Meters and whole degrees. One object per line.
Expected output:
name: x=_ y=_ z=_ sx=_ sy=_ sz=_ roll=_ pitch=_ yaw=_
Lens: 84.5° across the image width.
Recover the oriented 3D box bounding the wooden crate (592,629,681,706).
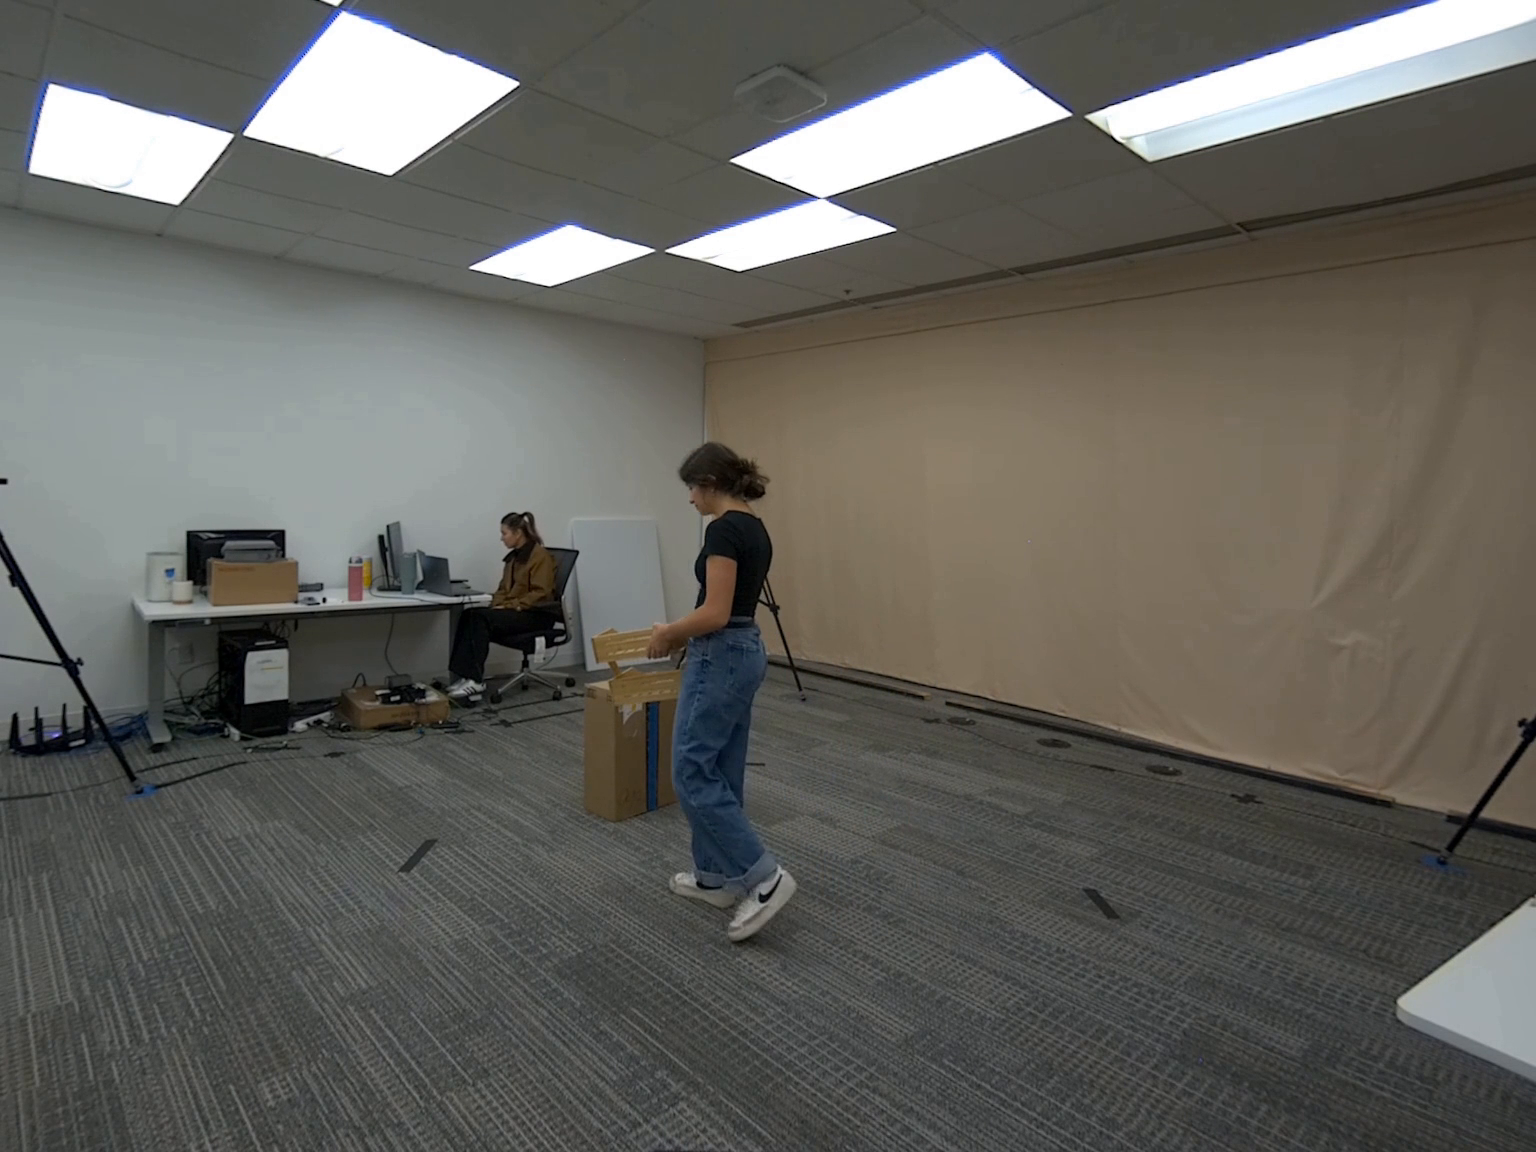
wooden crate: x=-0.426 y=0.290 z=3.034 sx=0.326 sy=0.272 sz=0.302 roll=-9 pitch=6 yaw=8
